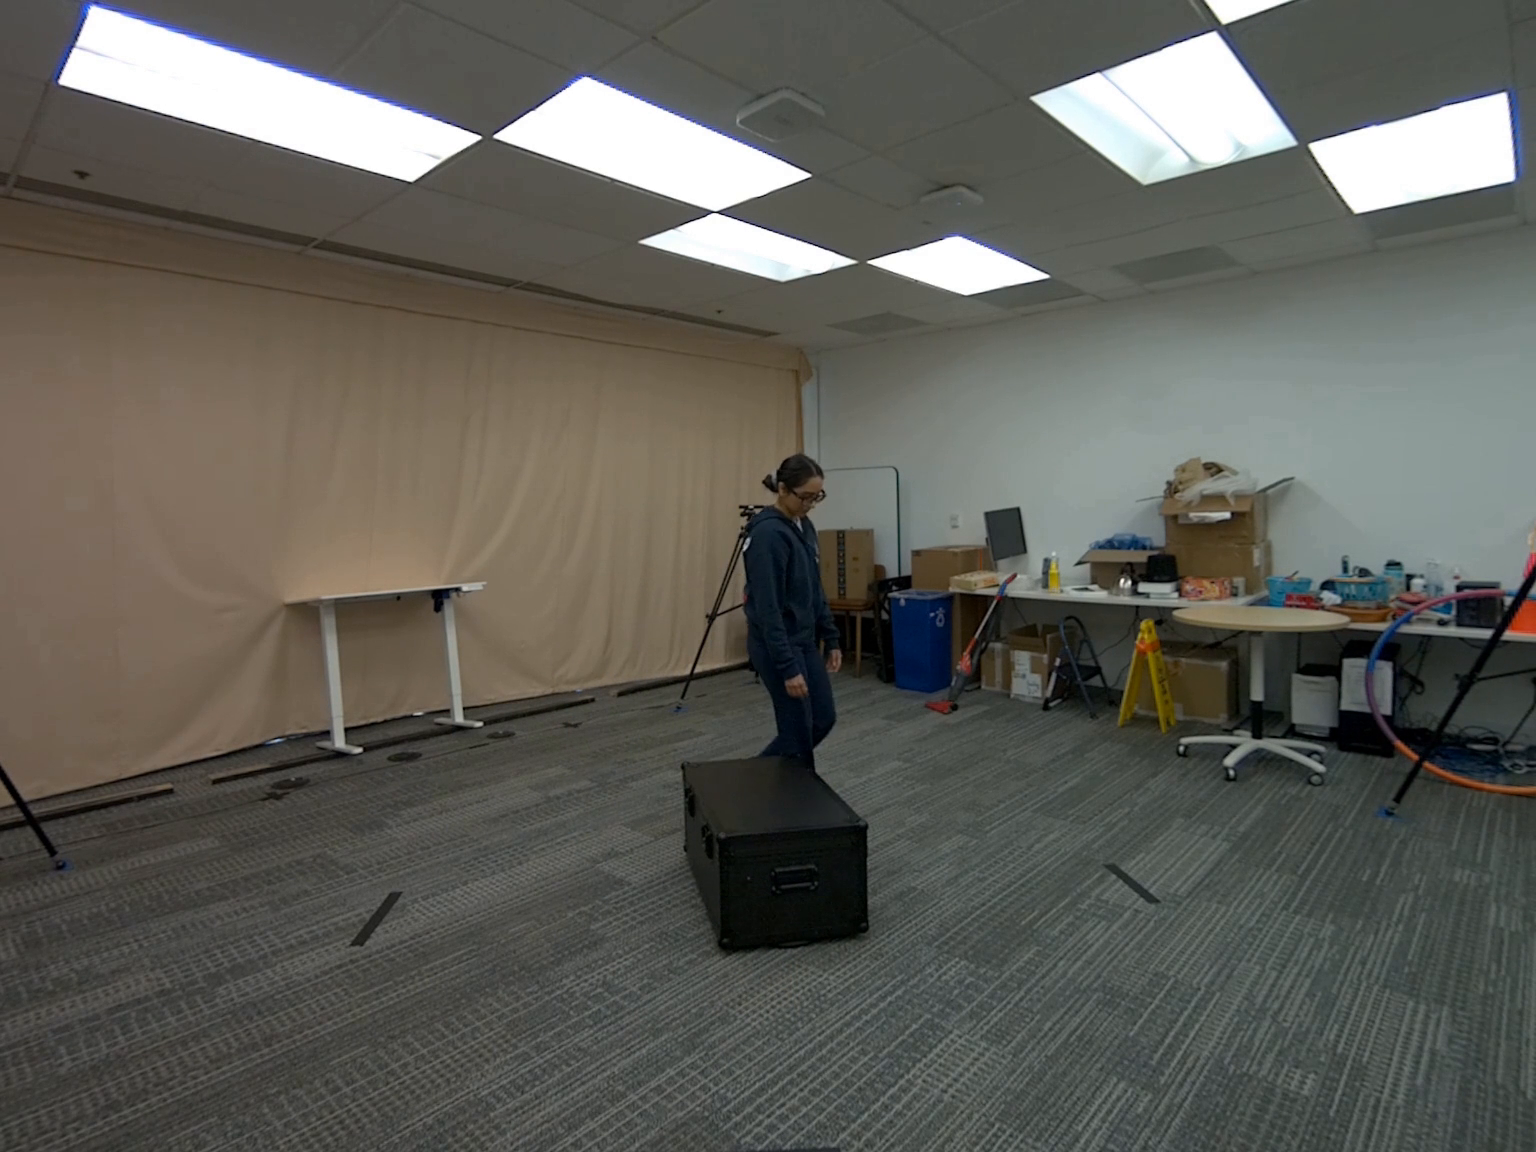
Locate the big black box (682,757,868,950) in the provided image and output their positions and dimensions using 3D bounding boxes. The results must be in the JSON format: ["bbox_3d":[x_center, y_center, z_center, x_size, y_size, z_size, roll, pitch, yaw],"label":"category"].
[{"bbox_3d":[-0.017,0.943,3.042,0.515,0.395,0.874,-2,4,-13],"label":"big black box"}]
